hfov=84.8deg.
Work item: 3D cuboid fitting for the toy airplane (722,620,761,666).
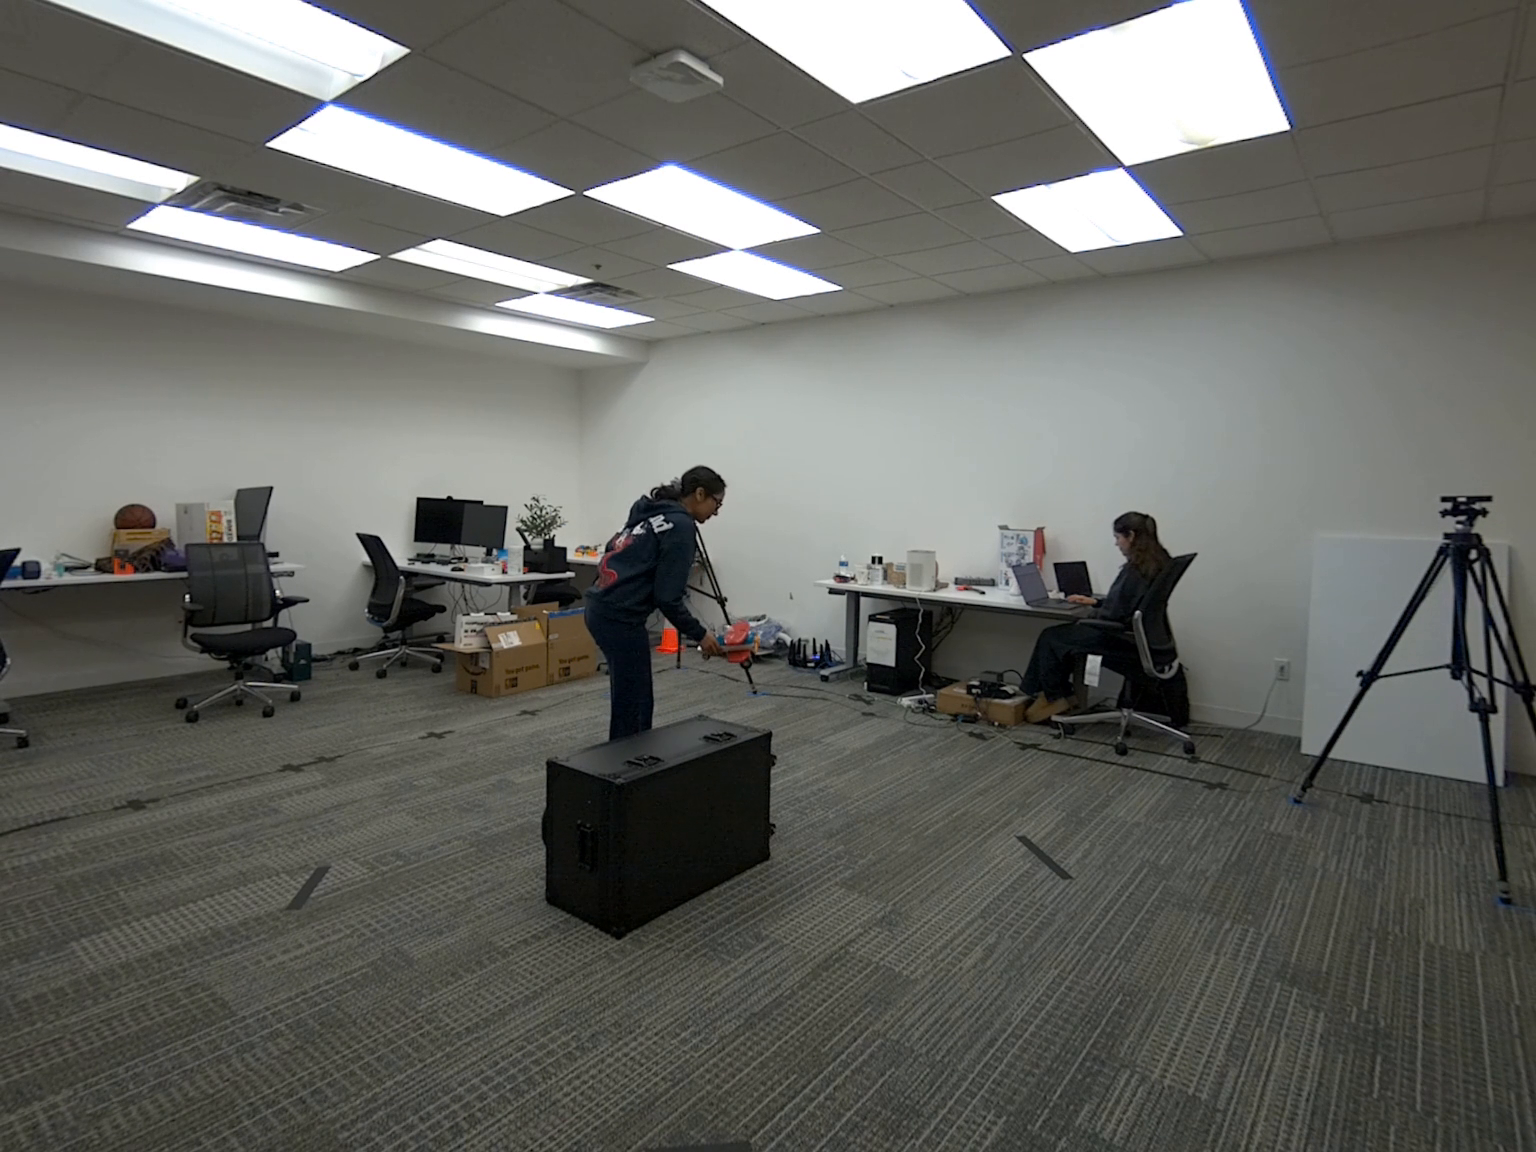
[{"bbox_3d":[-0.169,0.303,3.608,0.253,0.154,0.260,-2,16,-24],"label":"toy airplane"}]
